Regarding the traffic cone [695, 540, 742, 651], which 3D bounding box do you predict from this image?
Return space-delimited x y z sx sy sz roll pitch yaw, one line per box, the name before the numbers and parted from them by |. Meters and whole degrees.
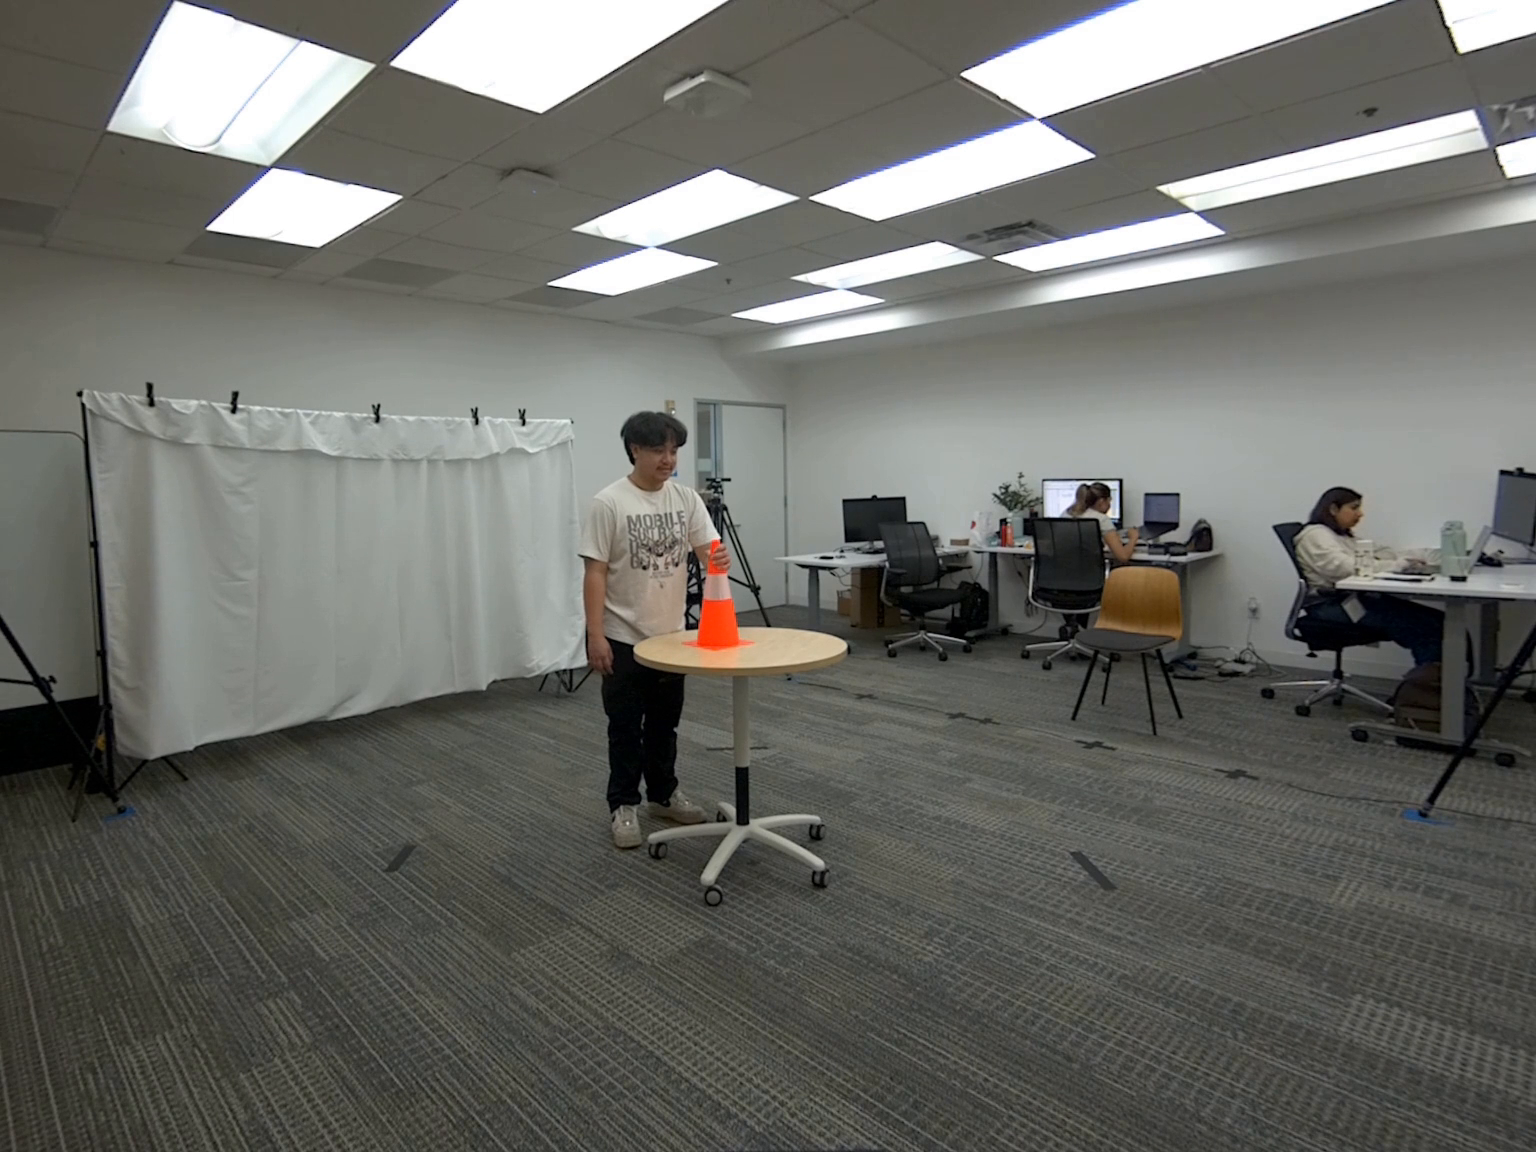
traffic cone | -0.182 0.059 3.105 0.209 0.382 0.199 1 5 45
